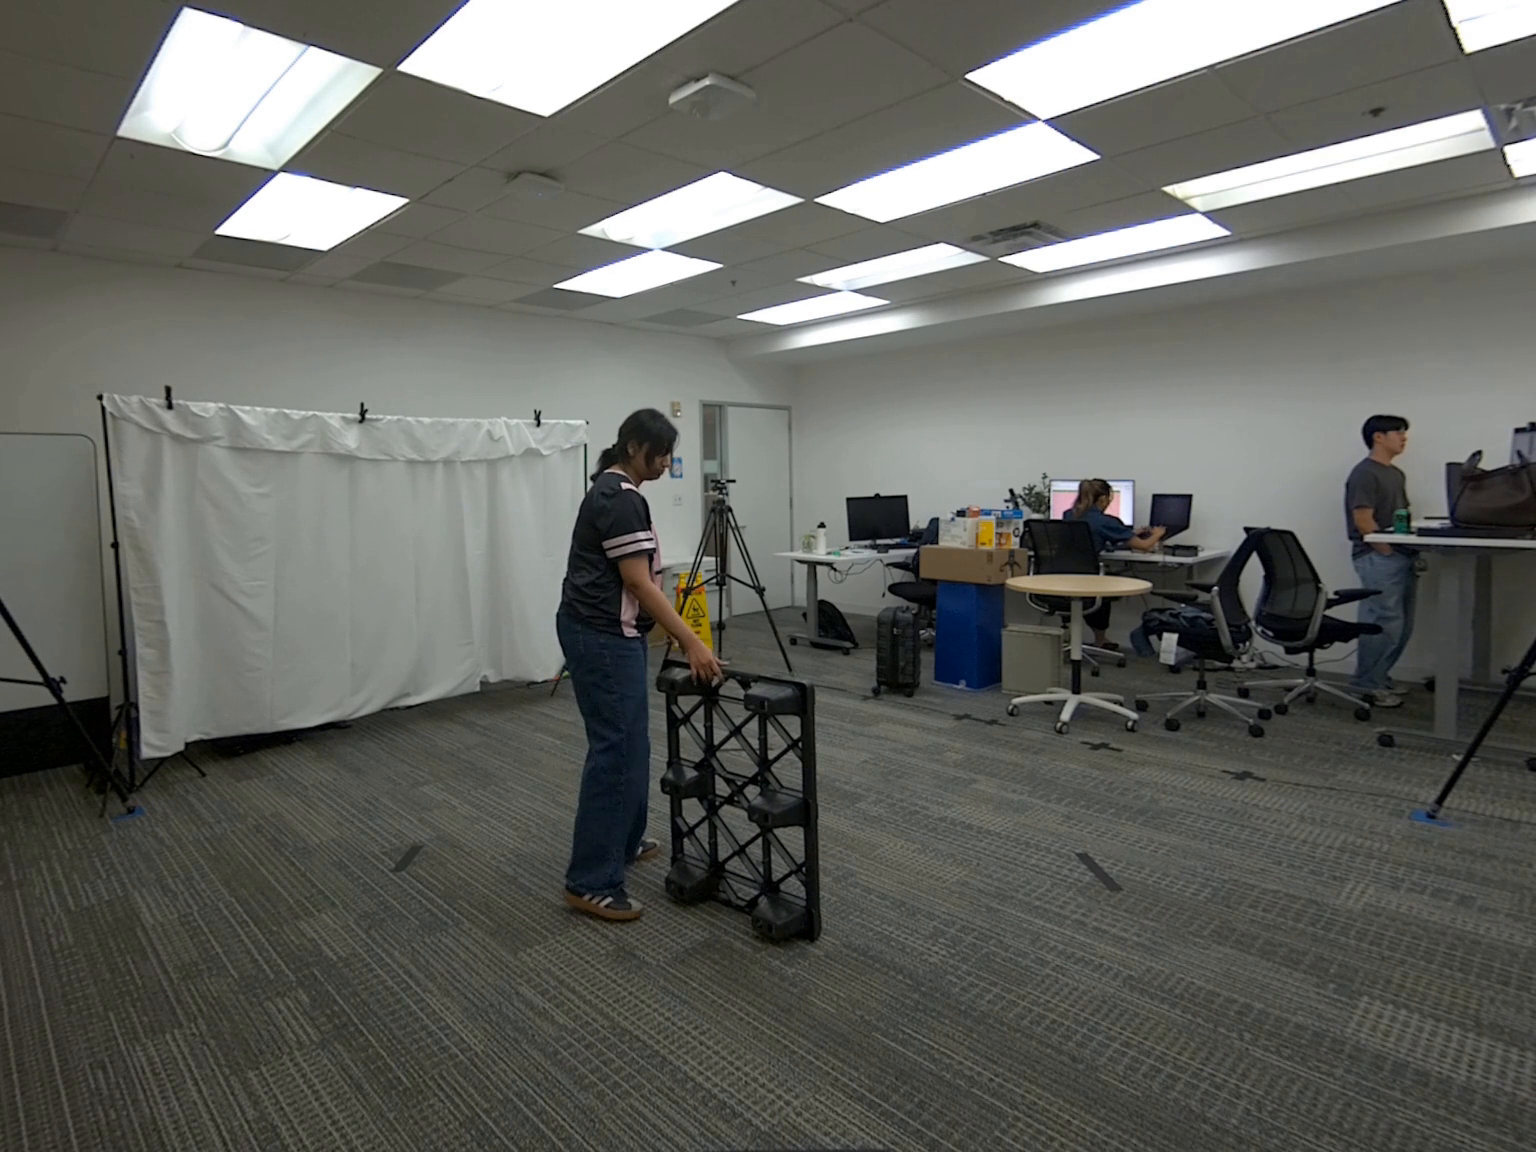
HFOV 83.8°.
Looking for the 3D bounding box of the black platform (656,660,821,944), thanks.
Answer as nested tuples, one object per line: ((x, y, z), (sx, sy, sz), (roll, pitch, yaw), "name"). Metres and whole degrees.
((-0.116, 0.702, 2.705), (0.623, 0.802, 0.140), (2, 6, 40), "black platform")
